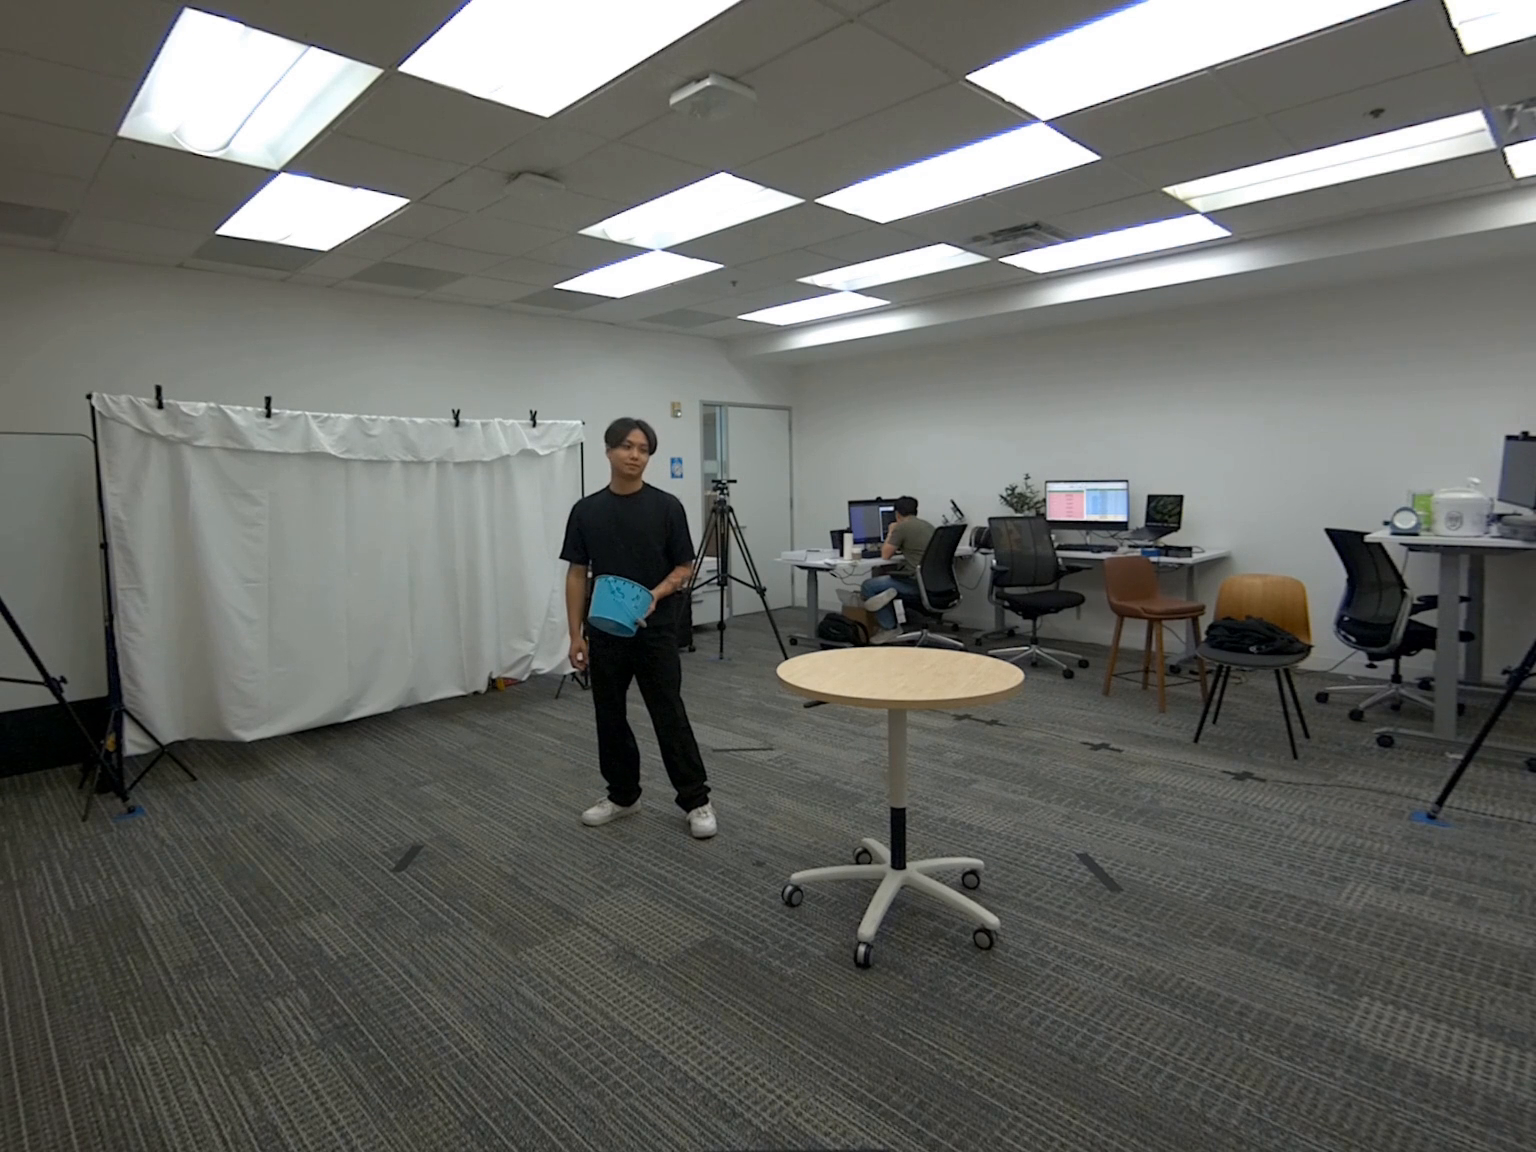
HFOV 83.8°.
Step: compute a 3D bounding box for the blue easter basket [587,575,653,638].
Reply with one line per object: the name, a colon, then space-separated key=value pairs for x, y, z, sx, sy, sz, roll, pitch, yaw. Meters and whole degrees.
blue easter basket: x=-0.558 y=0.119 z=3.149 sx=0.245 sy=0.158 sz=0.239 roll=13 pitch=-24 yaw=4
